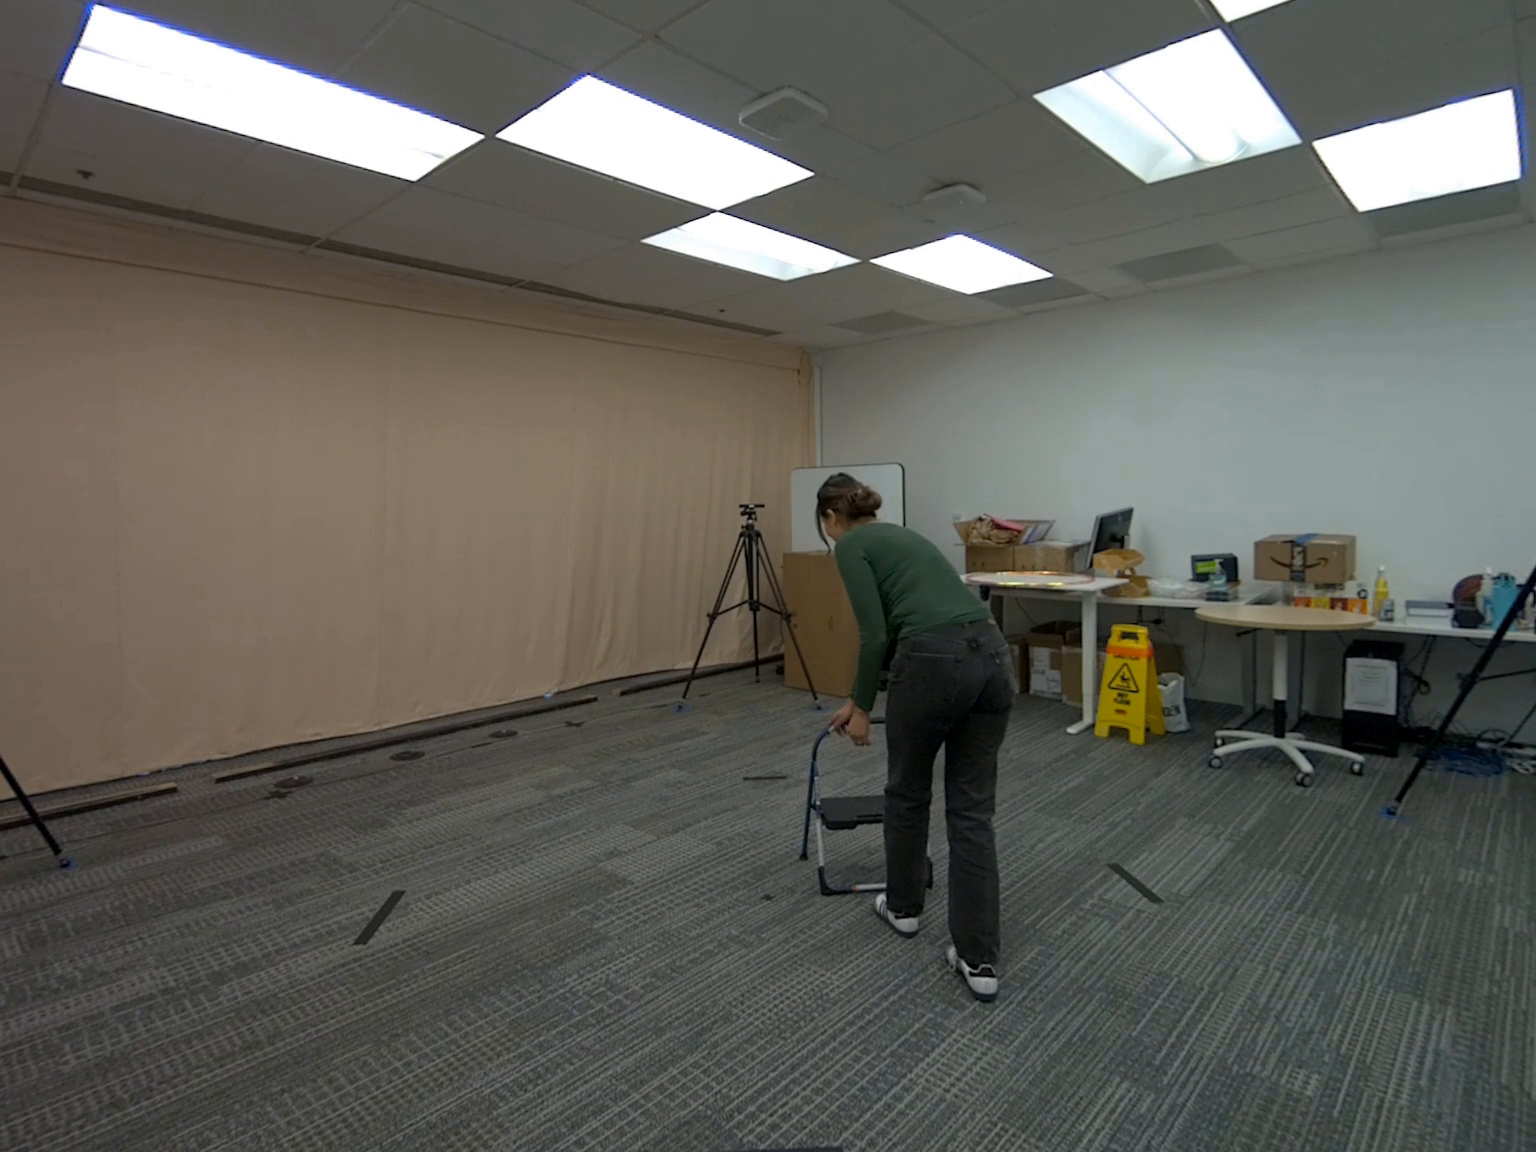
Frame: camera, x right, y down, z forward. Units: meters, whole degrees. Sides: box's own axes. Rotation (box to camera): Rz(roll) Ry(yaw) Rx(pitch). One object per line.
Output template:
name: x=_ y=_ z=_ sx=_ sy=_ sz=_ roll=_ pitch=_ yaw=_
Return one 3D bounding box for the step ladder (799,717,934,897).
step ladder: x=0.360 y=0.816 z=3.152 sx=0.427 sy=0.605 sz=0.353 roll=-1 pitch=4 yaw=-8
